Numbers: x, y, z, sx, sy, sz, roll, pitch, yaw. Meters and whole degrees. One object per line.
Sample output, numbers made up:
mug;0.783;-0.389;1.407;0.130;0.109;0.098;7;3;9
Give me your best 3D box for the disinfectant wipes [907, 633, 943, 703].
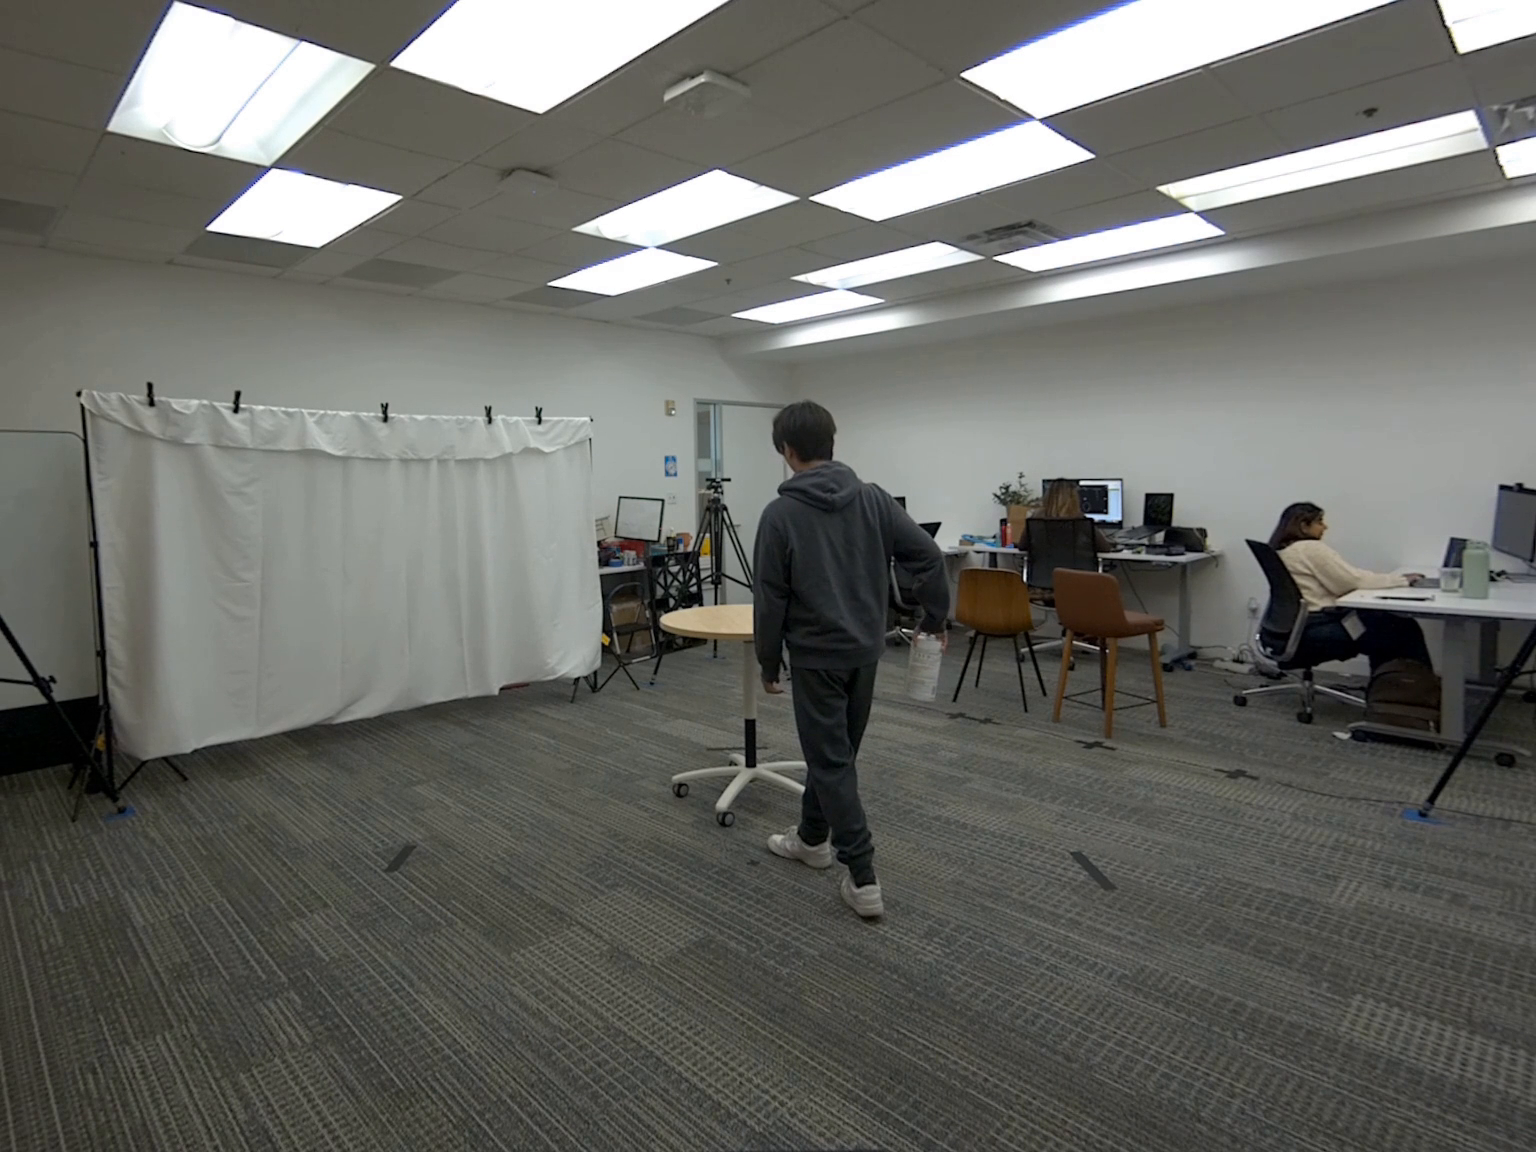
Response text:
disinfectant wipes;0.547;0.324;3.001;0.117;0.217;0.118;7;2;-2
